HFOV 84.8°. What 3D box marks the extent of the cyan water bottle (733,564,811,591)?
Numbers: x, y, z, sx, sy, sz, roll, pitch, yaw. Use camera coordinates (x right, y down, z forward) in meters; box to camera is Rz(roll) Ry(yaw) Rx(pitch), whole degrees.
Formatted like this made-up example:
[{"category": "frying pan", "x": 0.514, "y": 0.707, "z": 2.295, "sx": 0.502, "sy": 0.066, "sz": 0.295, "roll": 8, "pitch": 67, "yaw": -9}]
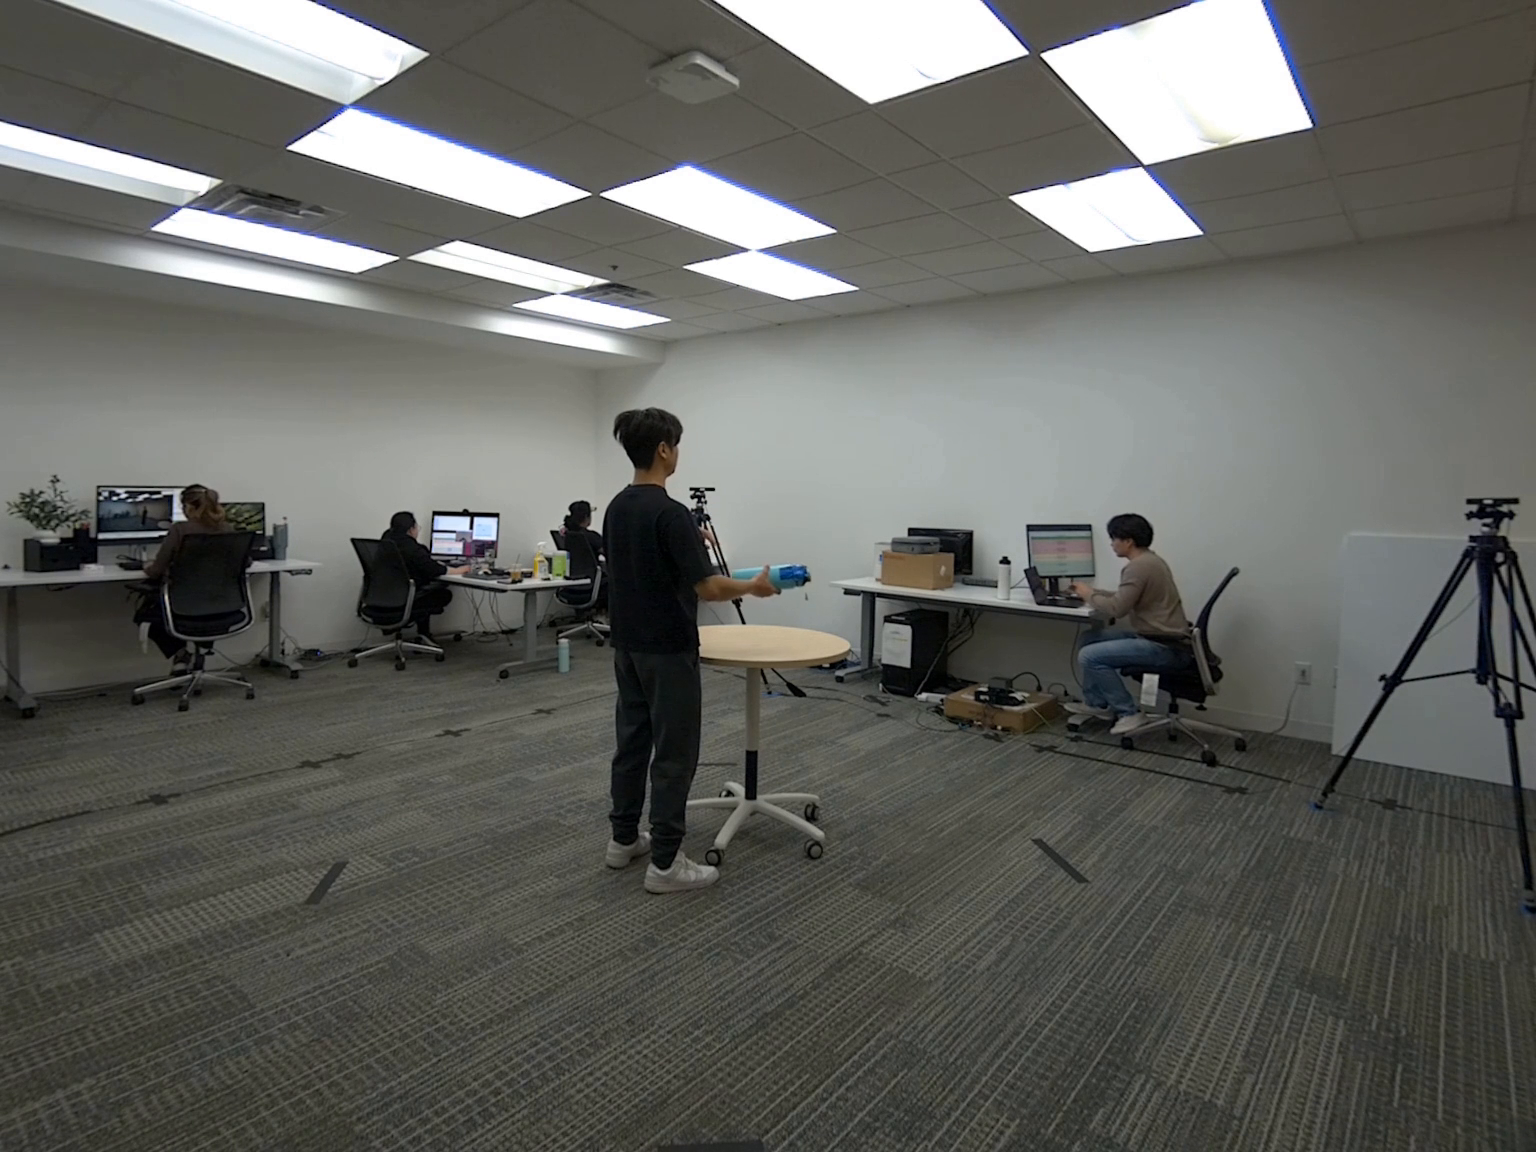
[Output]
[{"category": "cyan water bottle", "x": -0.003, "y": -0.002, "z": 3.089, "sx": 0.285, "sy": 0.092, "sz": 0.092, "roll": -7, "pitch": 4, "yaw": 5}]
